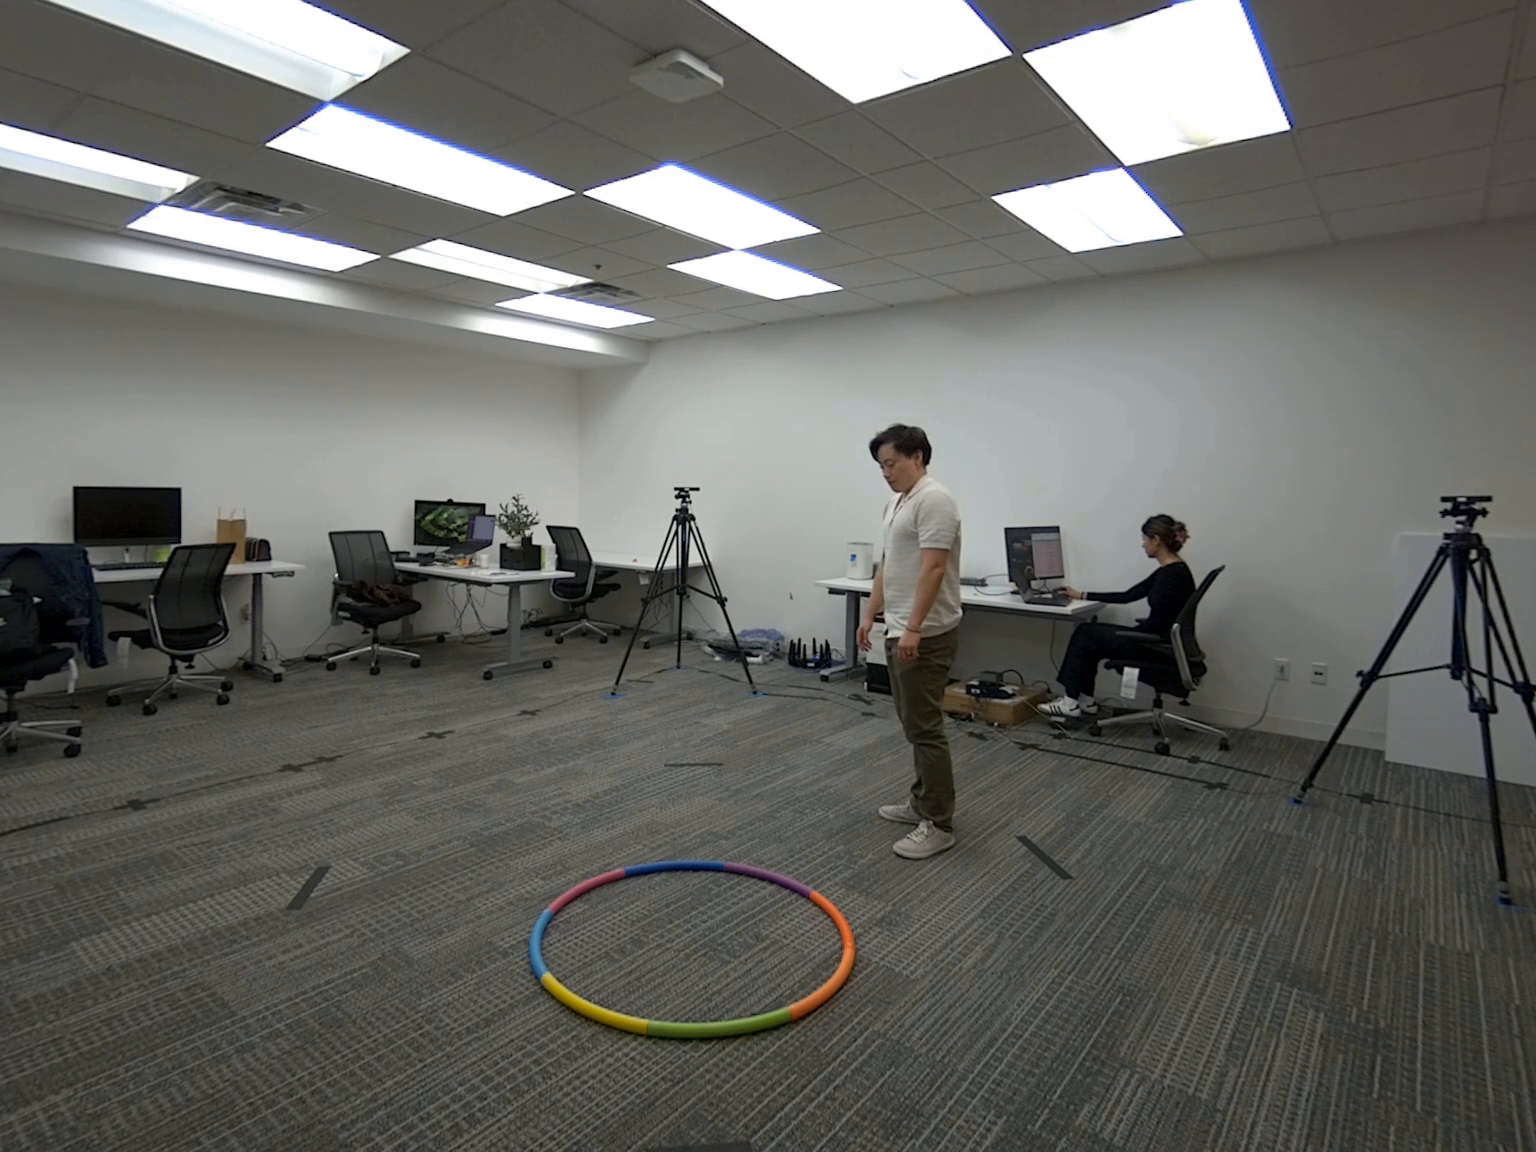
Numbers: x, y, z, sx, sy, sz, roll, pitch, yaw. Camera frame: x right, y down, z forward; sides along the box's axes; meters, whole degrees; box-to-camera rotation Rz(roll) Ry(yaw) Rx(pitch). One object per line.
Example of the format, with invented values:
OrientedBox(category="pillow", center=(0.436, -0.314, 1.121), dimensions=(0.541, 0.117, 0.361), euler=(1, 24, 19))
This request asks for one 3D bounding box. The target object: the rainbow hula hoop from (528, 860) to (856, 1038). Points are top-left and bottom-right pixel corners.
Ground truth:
OrientedBox(category="rainbow hula hoop", center=(-0.239, 1.083, 2.630), dimensions=(0.978, 0.035, 0.984), euler=(1, 6, -2))
